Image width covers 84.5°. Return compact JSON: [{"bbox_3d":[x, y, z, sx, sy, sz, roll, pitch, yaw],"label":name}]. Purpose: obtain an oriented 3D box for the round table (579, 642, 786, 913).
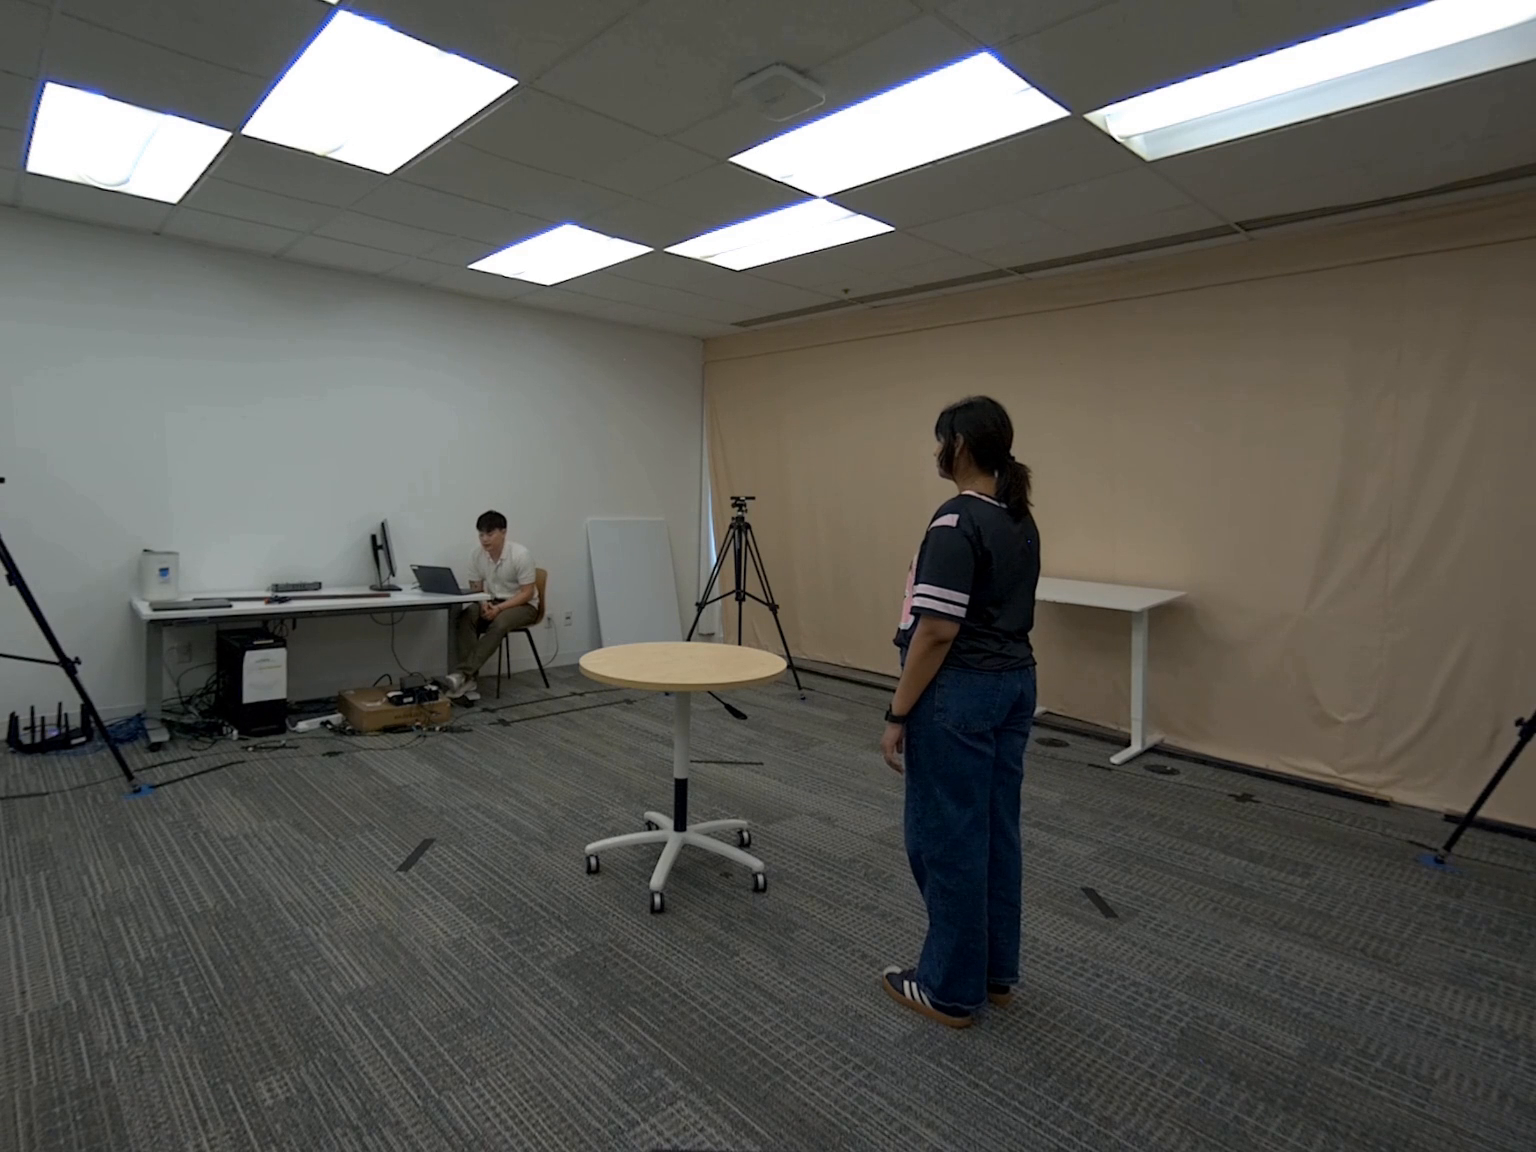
[{"bbox_3d":[-0.330,0.704,3.157,0.784,0.784,0.788,2,4,-1],"label":"round table"}]
